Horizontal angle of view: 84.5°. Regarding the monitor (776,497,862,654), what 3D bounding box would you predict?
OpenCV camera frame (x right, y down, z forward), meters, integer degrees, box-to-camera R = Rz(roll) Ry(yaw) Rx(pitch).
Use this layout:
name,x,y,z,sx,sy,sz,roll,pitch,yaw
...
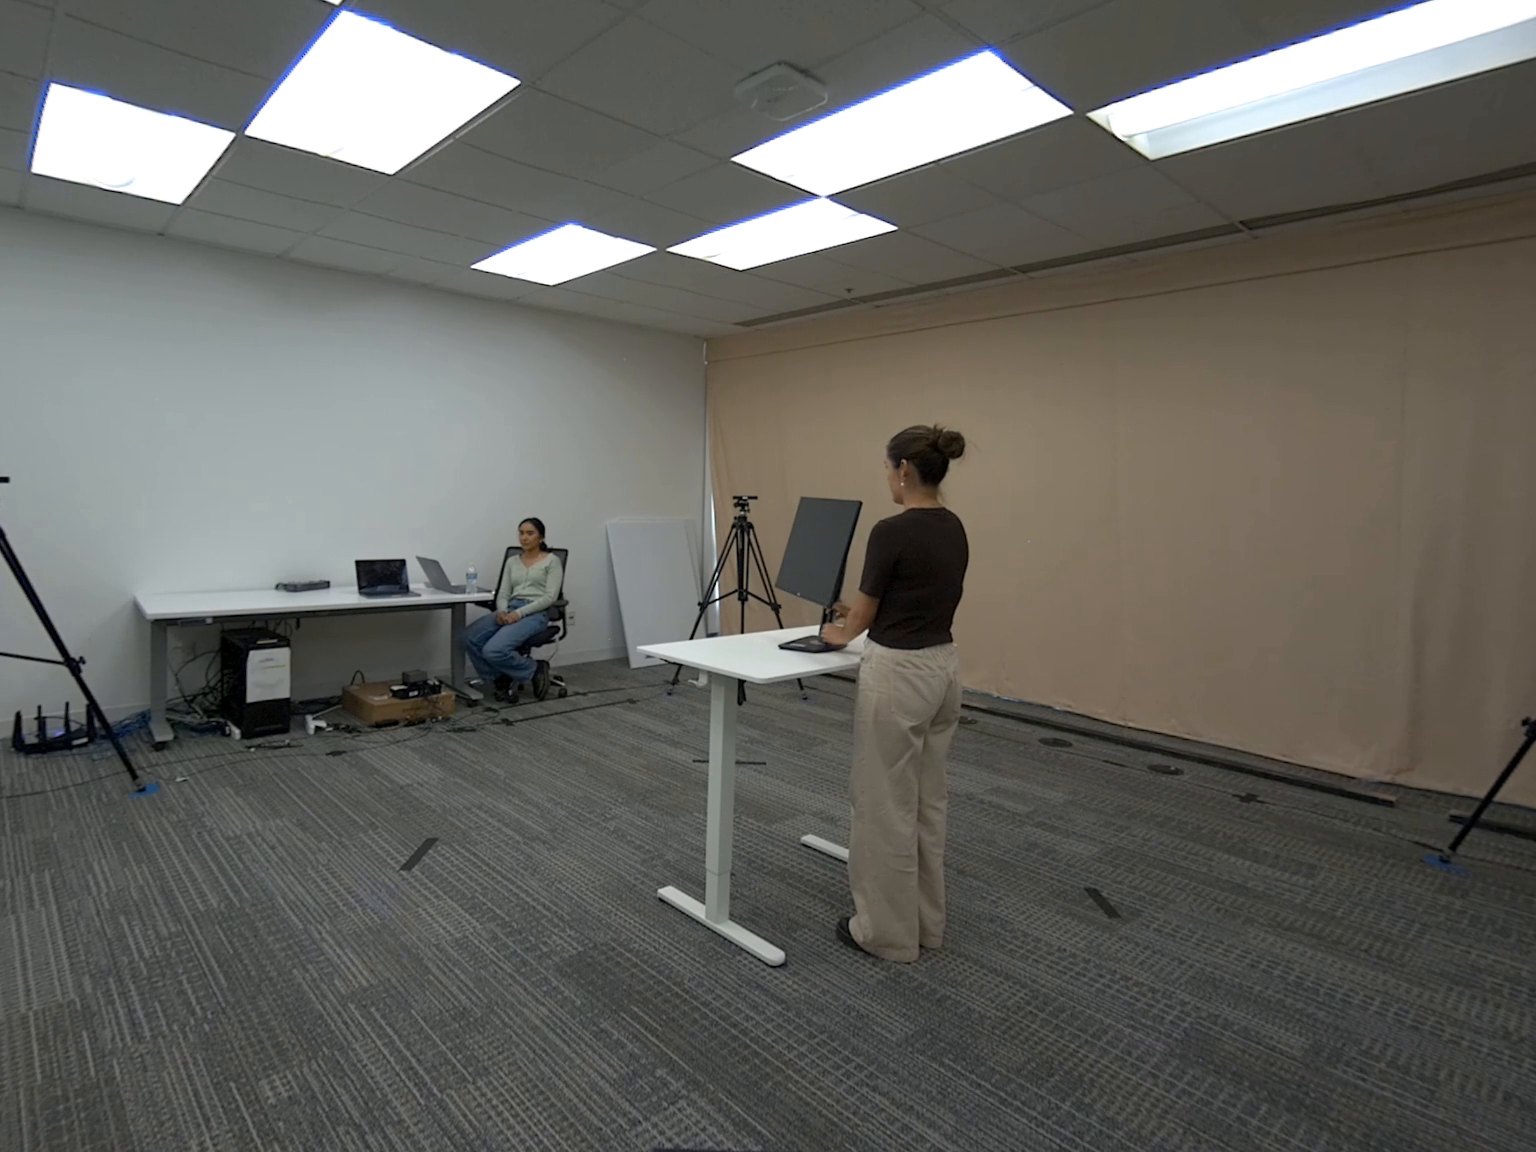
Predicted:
name,x,y,z,sx,sy,sz,roll,pitch,yaw
monitor,0.176,-0.006,2.899,0.184,0.521,0.549,3,5,-20
